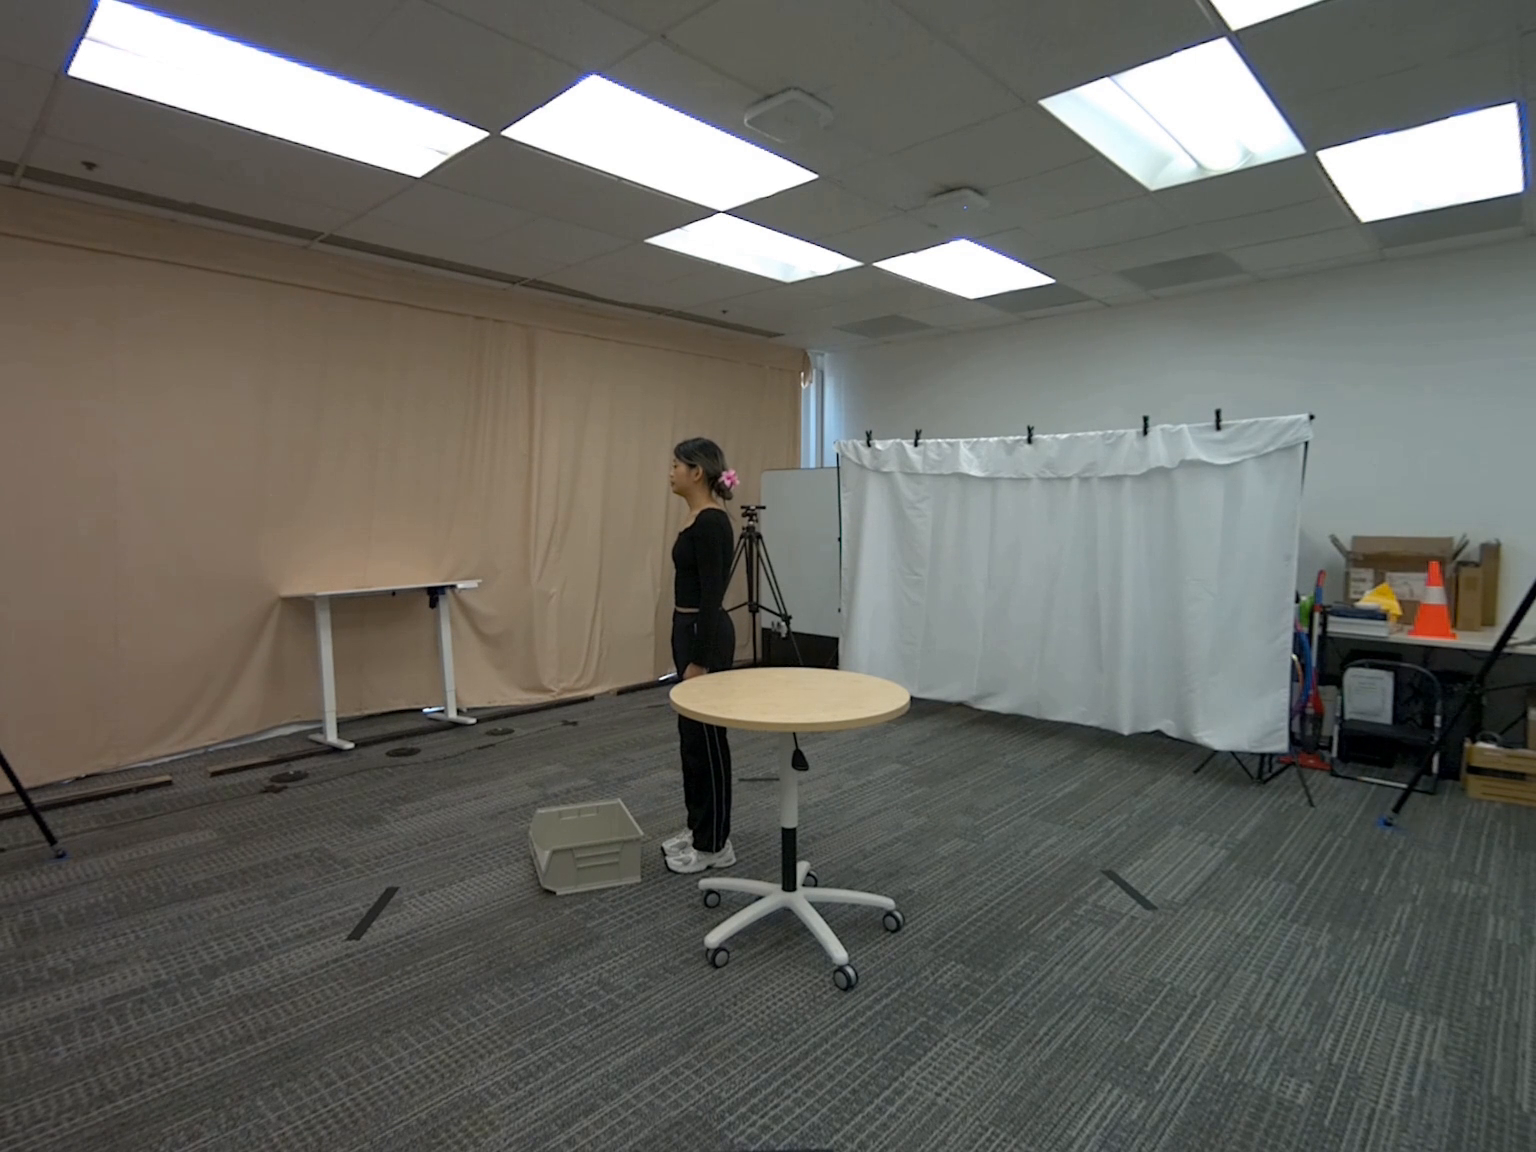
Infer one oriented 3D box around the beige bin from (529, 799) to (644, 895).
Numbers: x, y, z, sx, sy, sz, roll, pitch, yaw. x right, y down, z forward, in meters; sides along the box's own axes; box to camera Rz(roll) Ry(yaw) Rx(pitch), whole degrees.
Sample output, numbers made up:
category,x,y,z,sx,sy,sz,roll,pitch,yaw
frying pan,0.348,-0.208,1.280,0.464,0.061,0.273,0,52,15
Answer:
category,x,y,z,sx,sy,sz,roll,pitch,yaw
beige bin,-0.712,1.030,3.259,0.370,0.188,0.432,-1,4,-21
